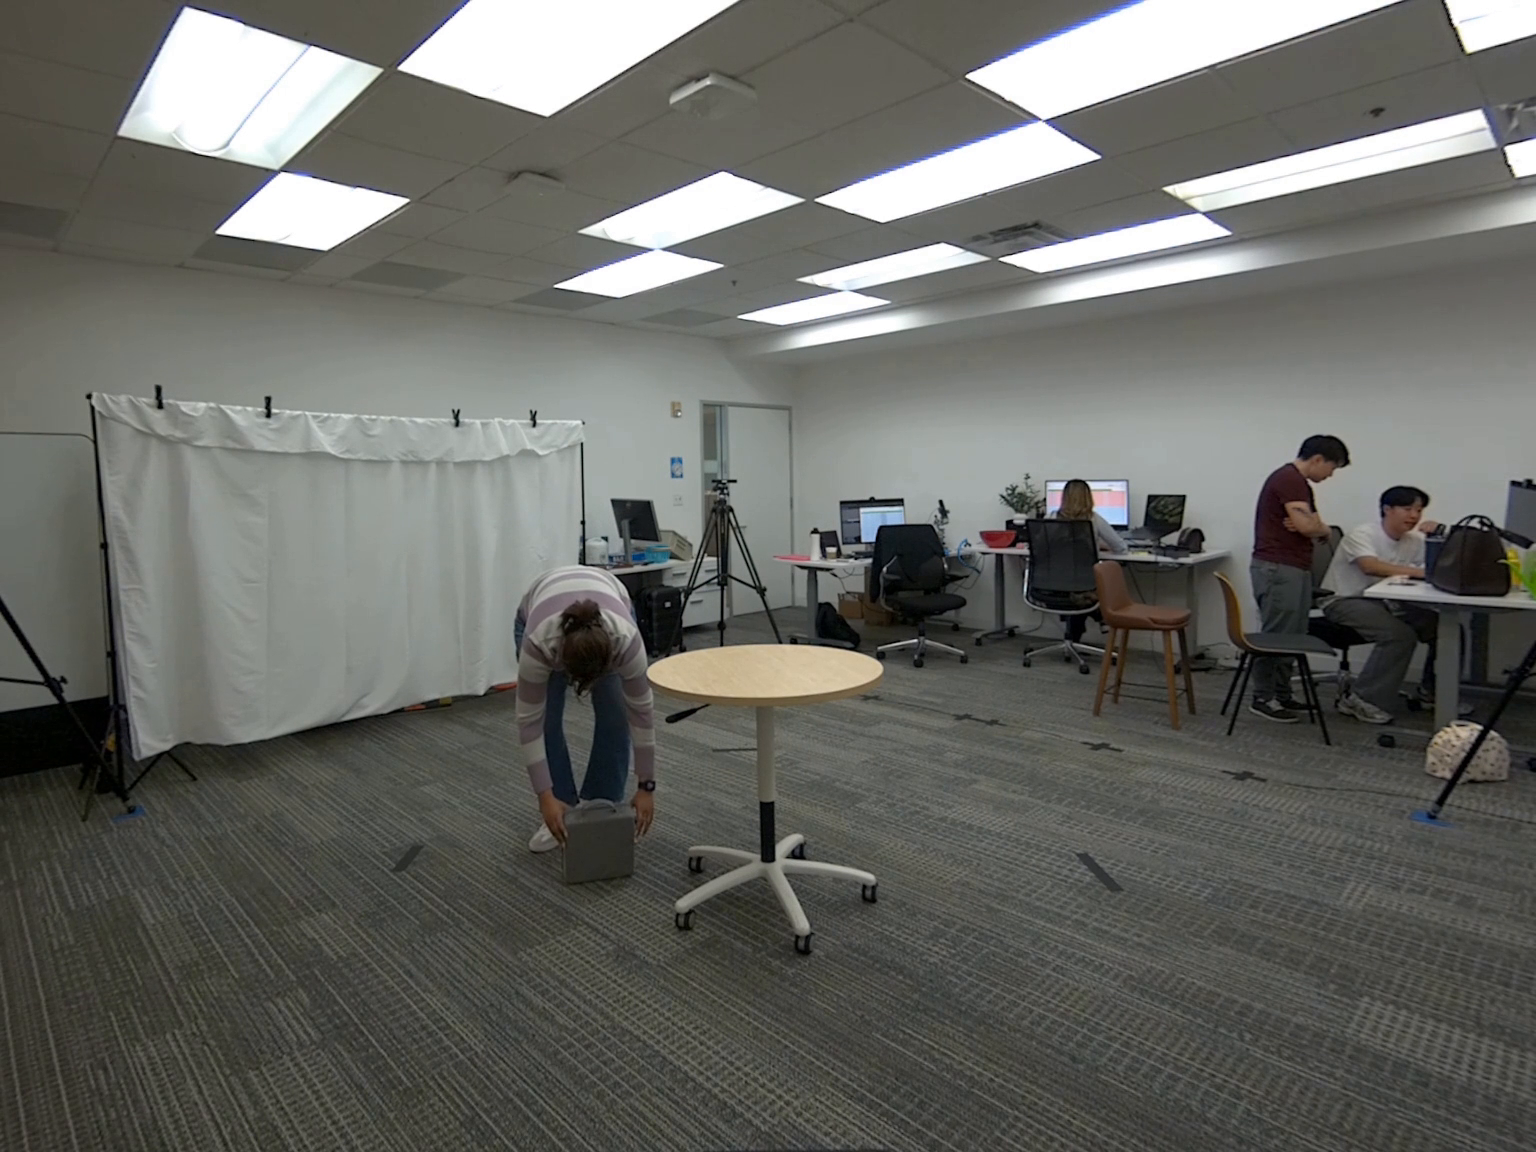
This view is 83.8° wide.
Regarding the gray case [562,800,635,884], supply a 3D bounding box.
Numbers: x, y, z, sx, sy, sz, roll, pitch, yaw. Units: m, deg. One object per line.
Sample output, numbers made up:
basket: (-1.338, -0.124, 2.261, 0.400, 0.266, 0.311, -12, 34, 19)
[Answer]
gray case: (-0.604, 0.938, 3.018, 0.254, 0.258, 0.107, -4, 12, -14)
